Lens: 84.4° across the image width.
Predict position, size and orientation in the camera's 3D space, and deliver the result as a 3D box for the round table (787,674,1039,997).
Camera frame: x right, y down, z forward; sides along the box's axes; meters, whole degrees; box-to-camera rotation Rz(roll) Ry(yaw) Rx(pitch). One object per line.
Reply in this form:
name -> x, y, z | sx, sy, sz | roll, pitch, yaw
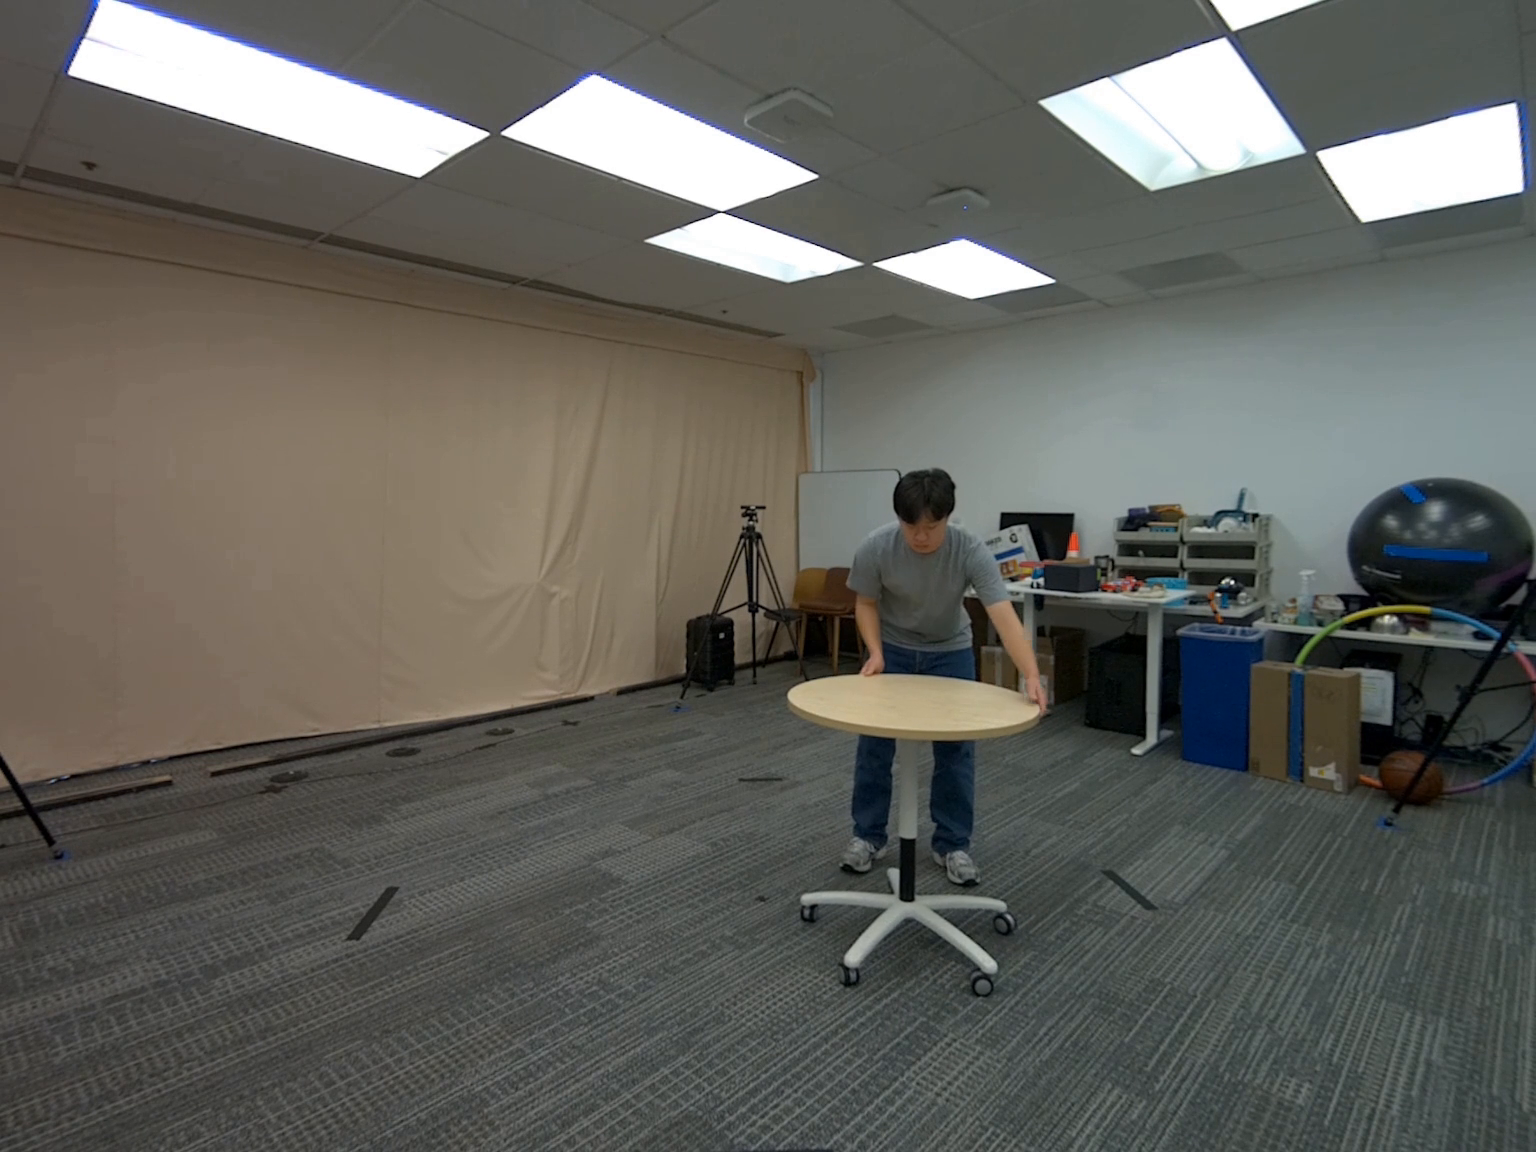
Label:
round table -> 0.449, 0.778, 2.663 | 0.763, 0.792, 0.766 | 0, 4, -2
